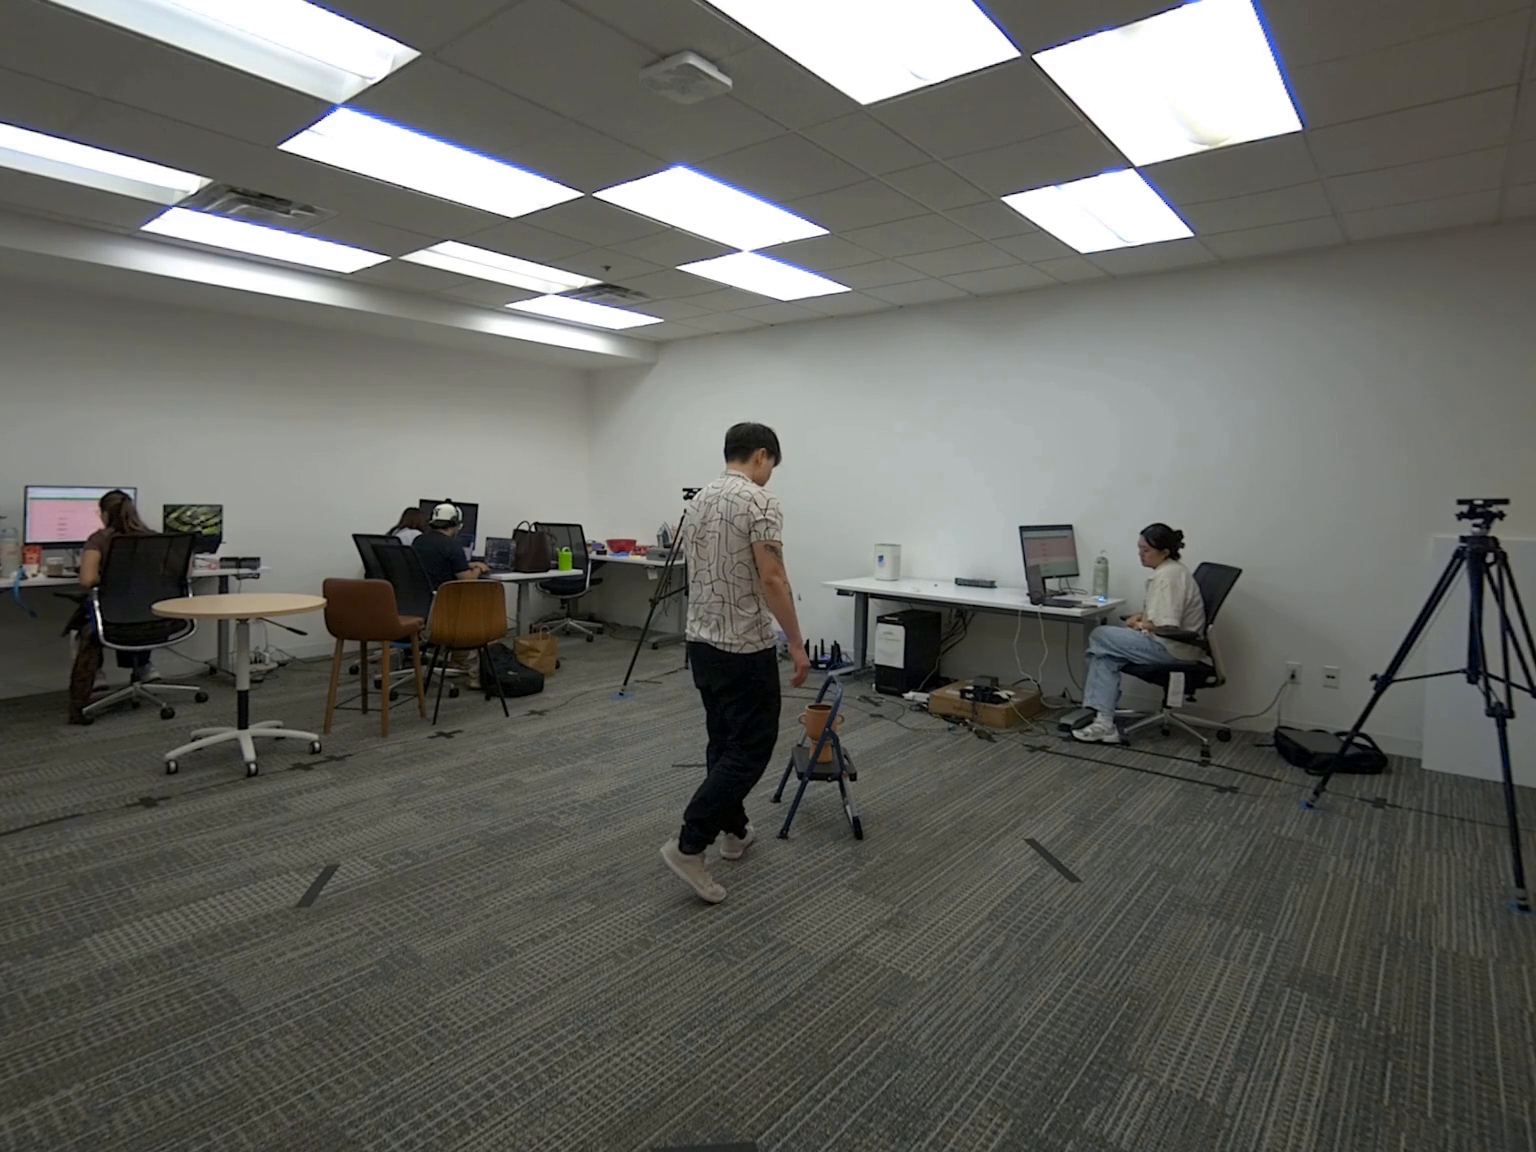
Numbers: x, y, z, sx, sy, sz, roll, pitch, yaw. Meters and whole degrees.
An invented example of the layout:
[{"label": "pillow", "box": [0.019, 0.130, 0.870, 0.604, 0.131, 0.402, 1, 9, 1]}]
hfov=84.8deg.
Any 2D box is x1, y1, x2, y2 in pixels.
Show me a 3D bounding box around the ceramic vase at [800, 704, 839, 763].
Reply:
[{"label": "ceramic vase", "box": [0.216, 0.654, 3.586, 0.164, 0.219, 0.131, 3, 3, 34]}]
